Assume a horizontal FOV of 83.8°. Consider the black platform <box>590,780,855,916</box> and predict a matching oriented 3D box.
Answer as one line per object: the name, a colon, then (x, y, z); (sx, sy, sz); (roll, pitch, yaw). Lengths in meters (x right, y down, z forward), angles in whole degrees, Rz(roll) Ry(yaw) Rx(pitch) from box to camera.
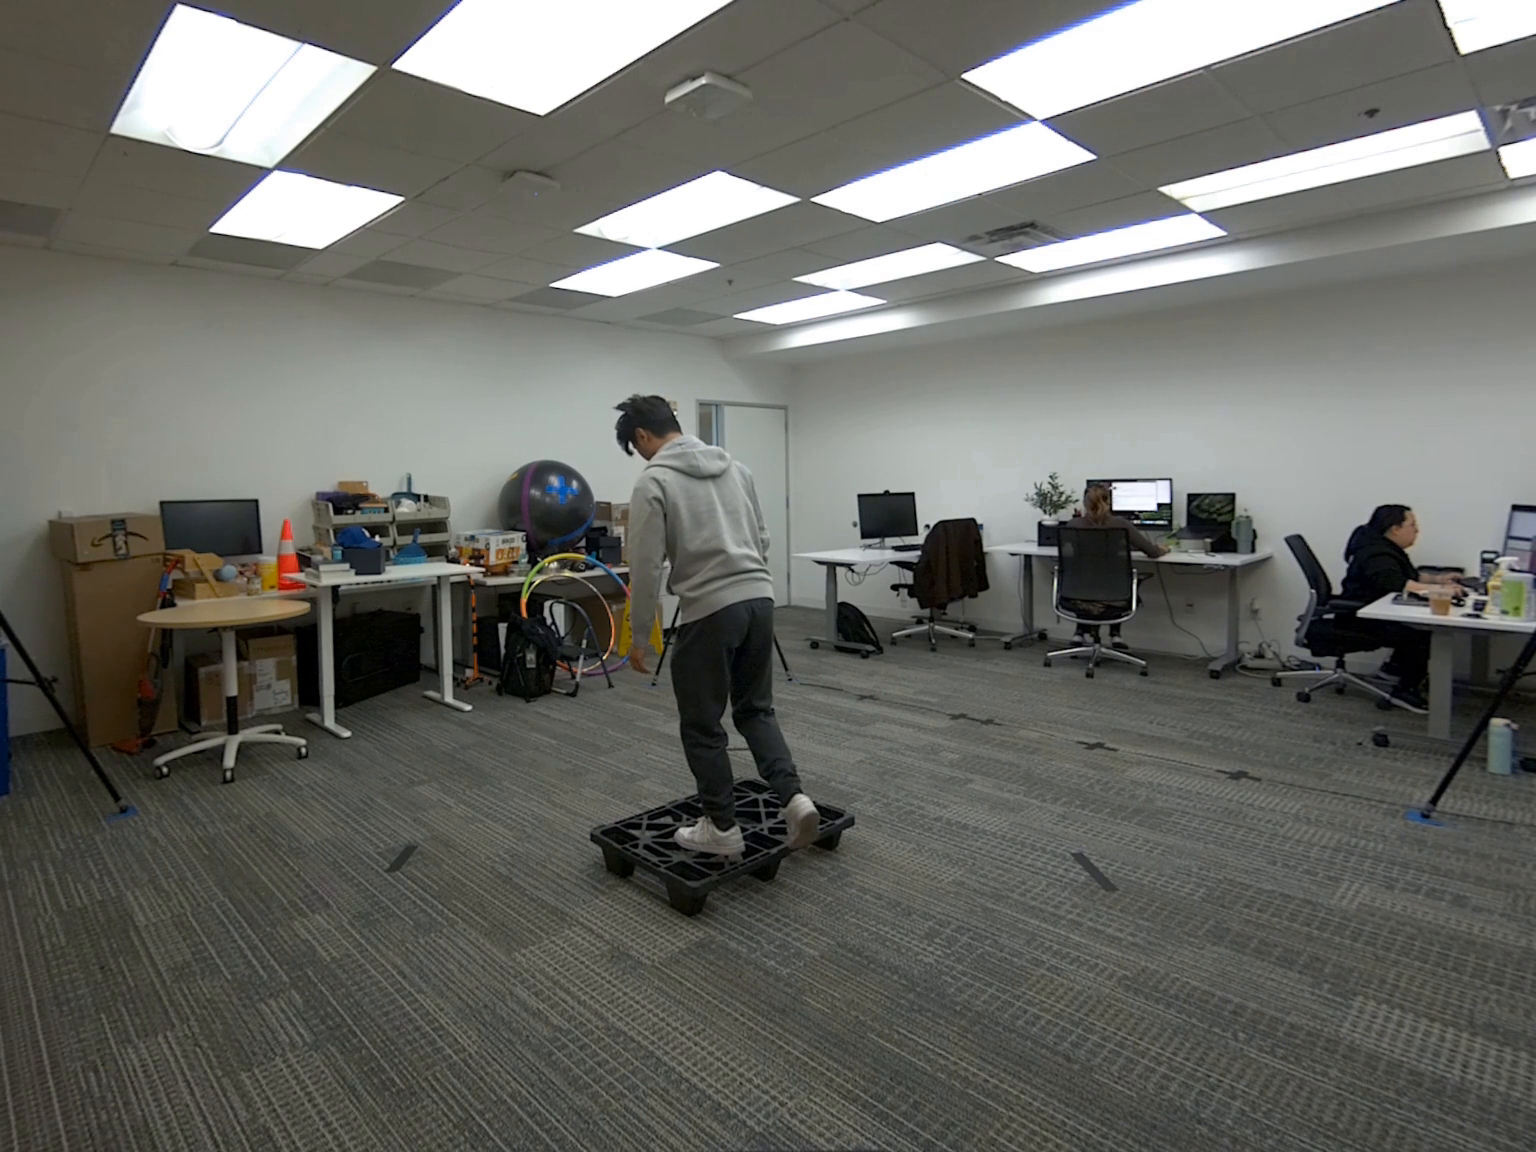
black platform: (-0.153, 0.976, 3.147); (0.785, 0.142, 0.624); (-8, 10, -43)
